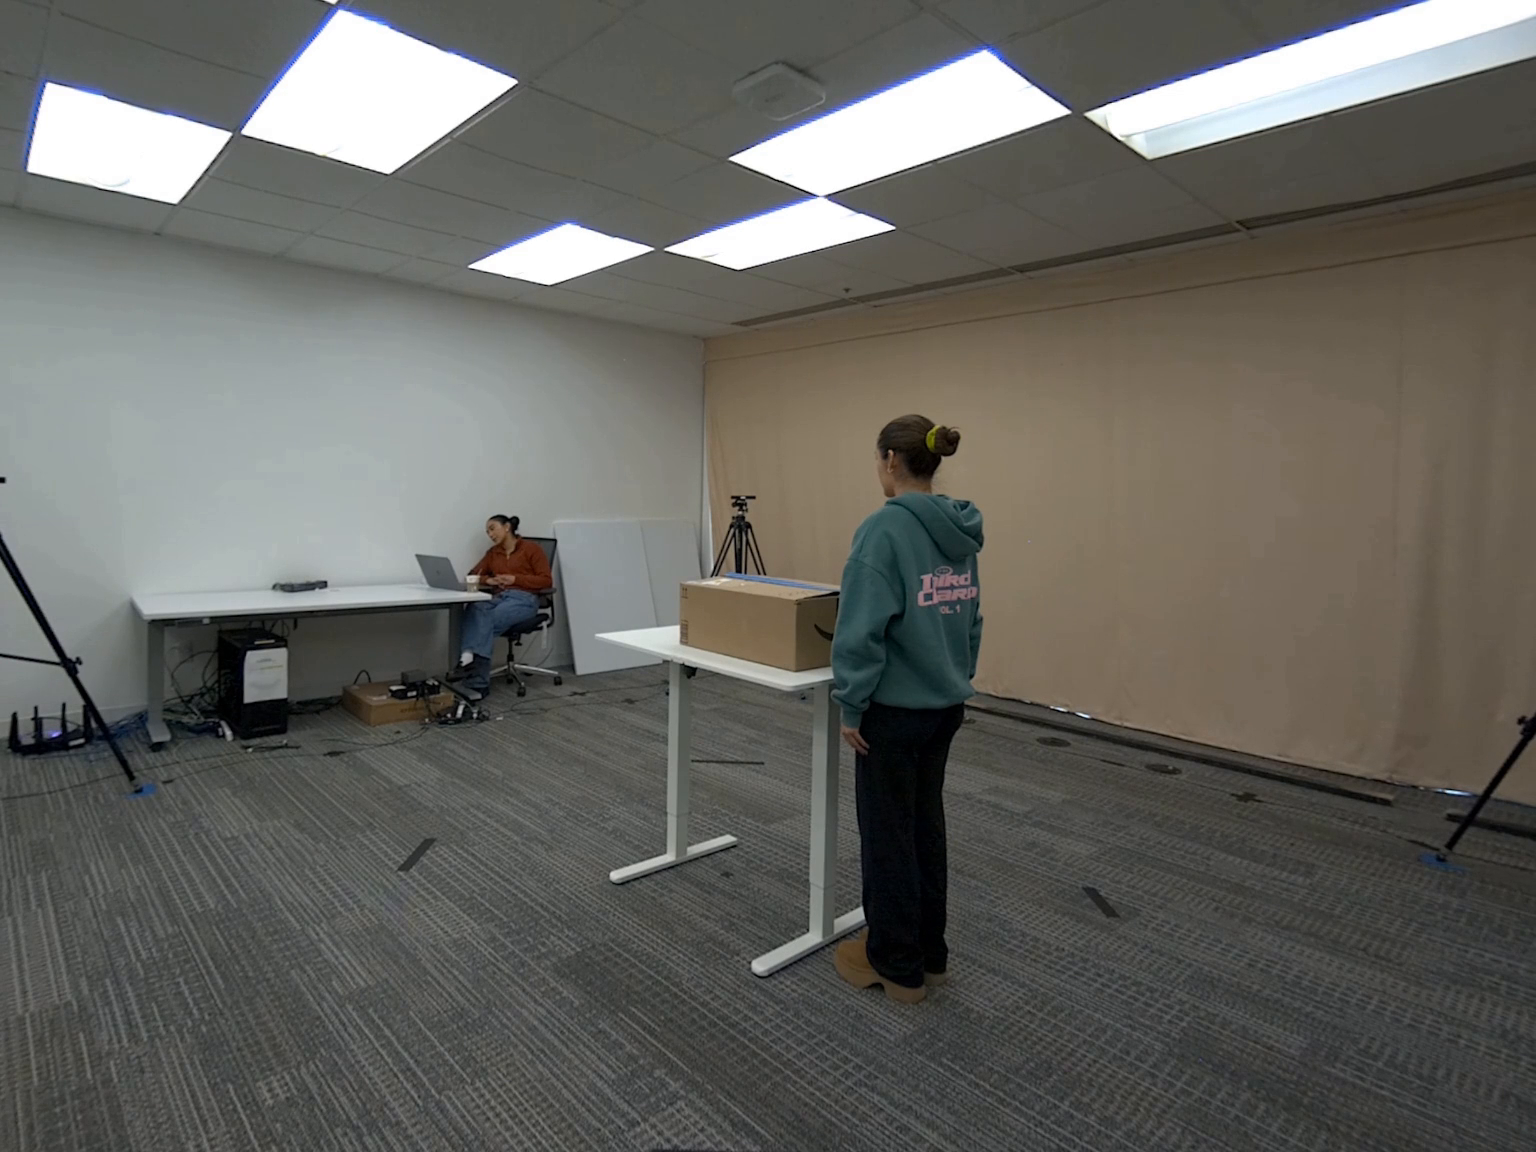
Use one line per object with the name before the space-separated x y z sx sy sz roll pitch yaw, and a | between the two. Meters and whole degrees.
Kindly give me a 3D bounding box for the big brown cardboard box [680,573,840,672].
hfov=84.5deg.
big brown cardboard box | 0.031 0.142 2.821 0.408 0.232 0.604 -3 8 -42
